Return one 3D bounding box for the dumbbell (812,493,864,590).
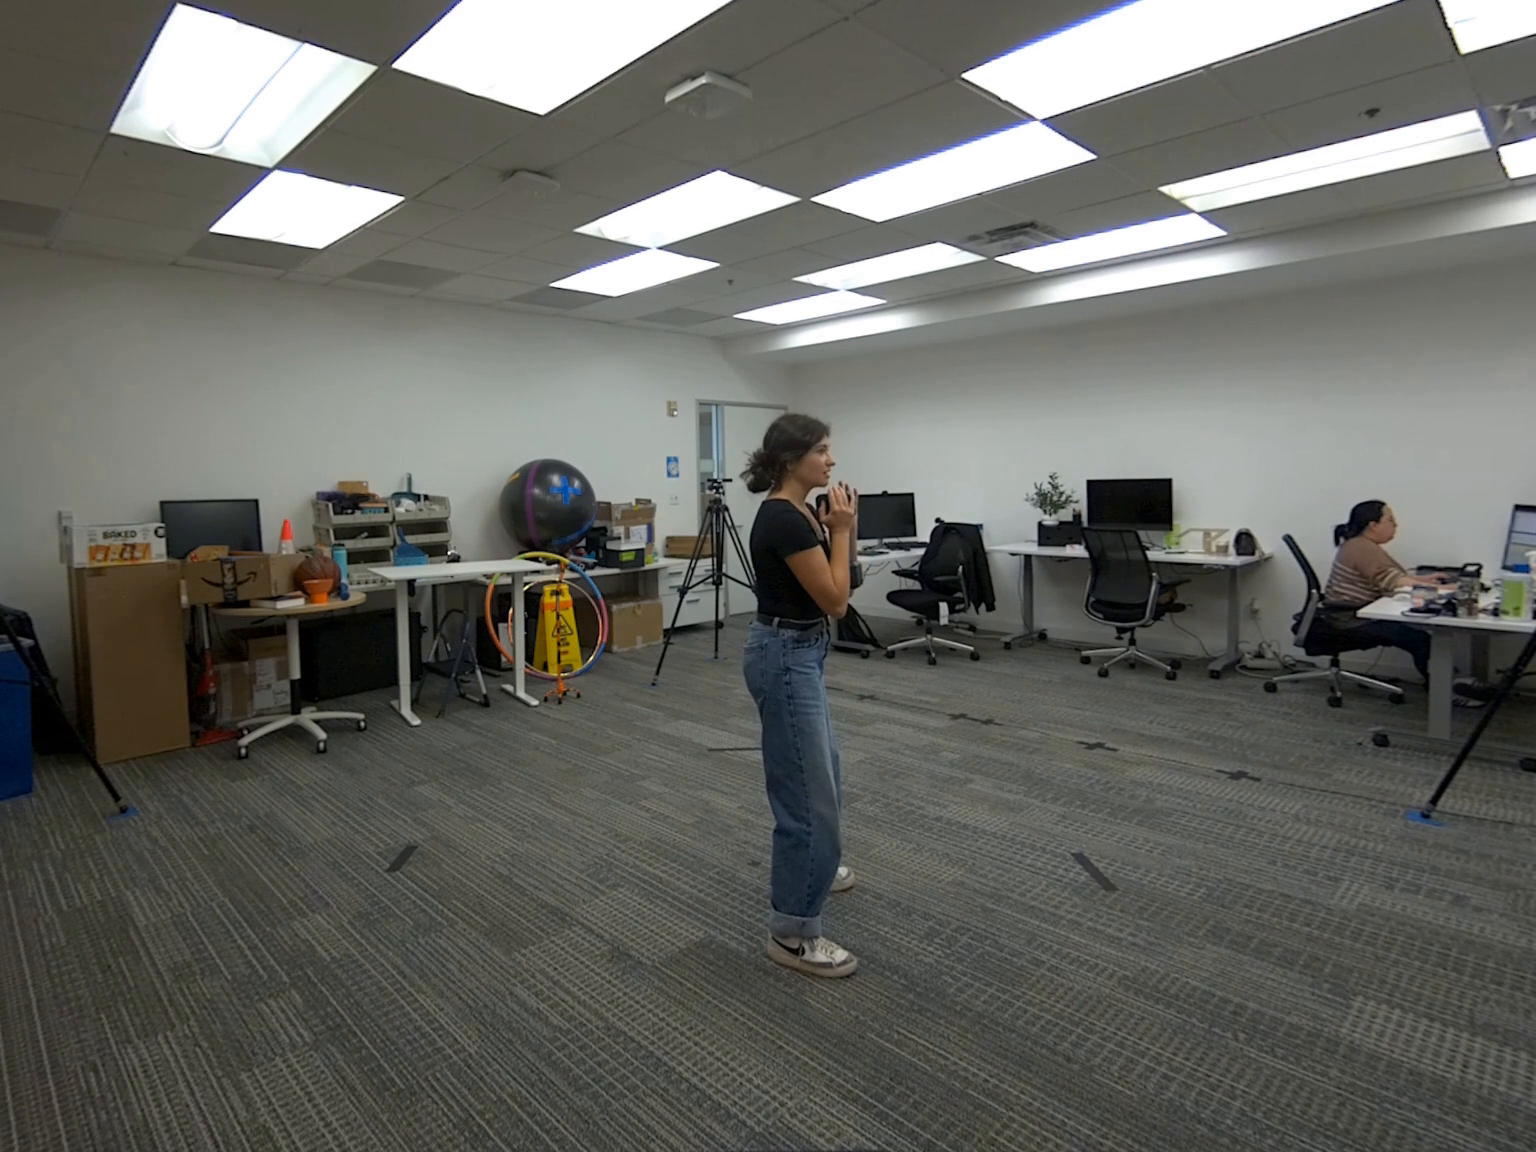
[{"bbox_3d":[0.205,-0.101,2.586,0.126,0.293,0.106,-3,3,32],"label":"dumbbell"}]
